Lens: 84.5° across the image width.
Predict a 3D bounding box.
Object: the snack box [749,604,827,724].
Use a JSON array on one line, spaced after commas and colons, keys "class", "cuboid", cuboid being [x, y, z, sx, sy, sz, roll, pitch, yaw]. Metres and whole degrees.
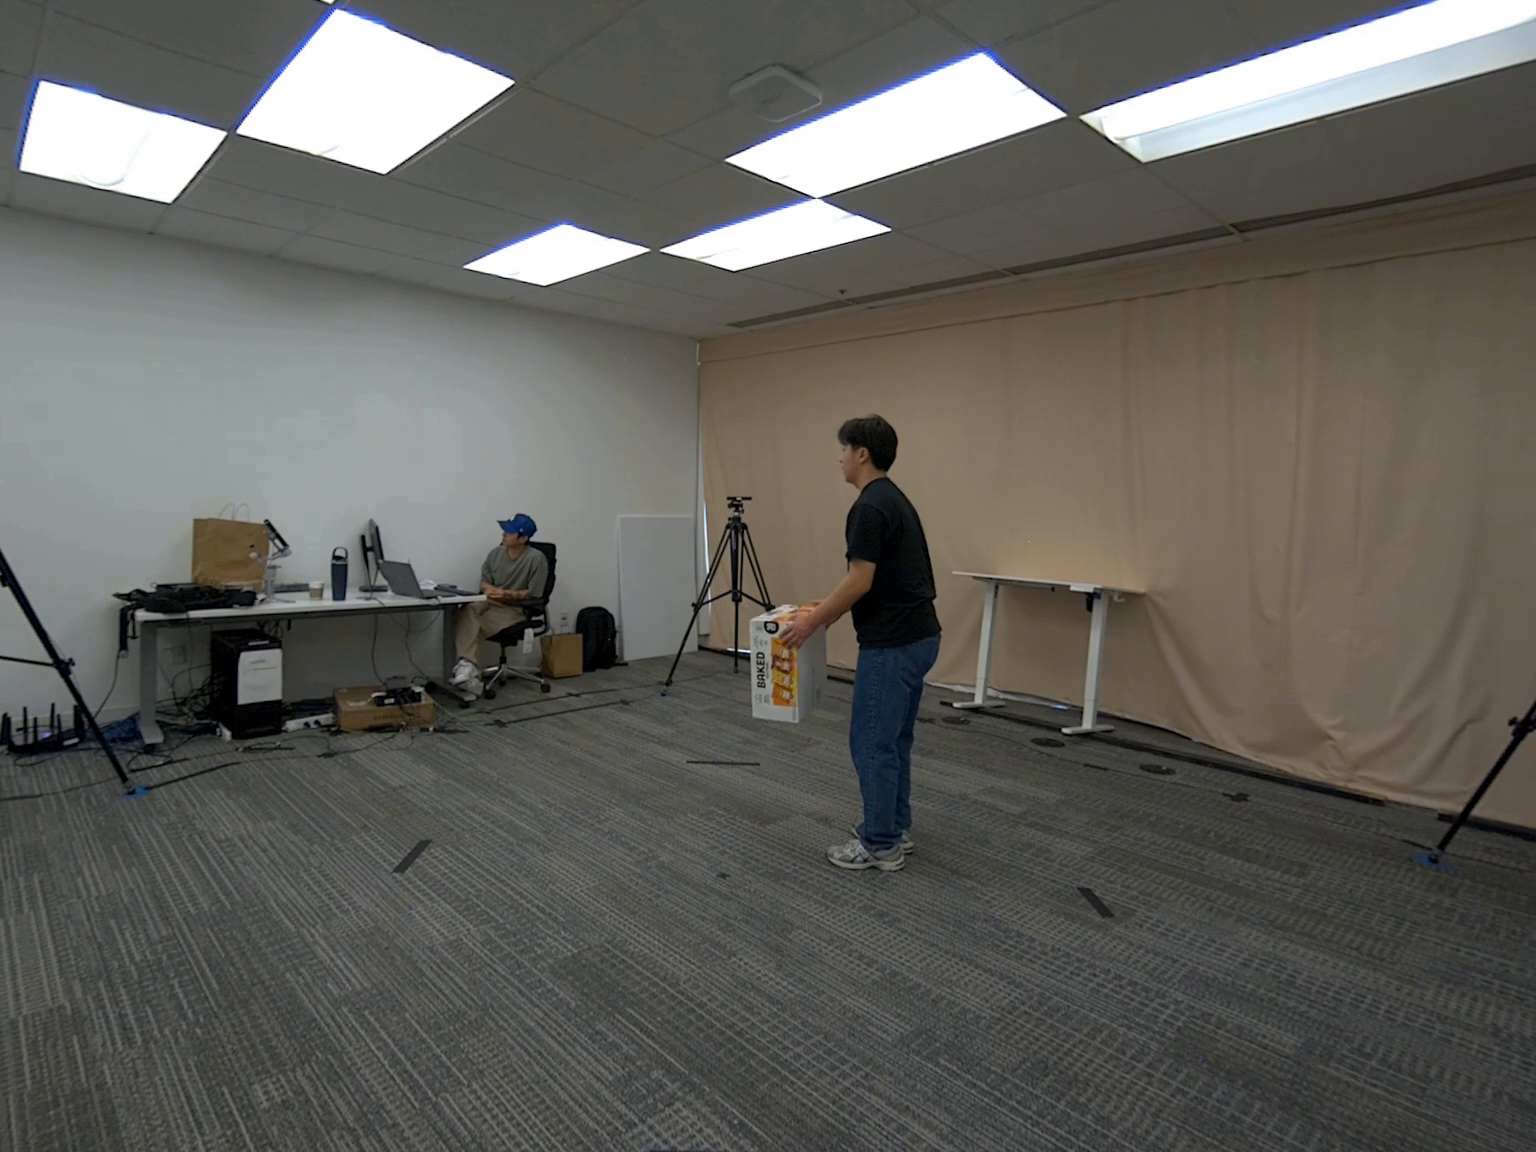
[{"class": "snack box", "cuboid": [0.088, 0.352, 3.501, 0.209, 0.403, 0.335, 1, 8, 25]}]
